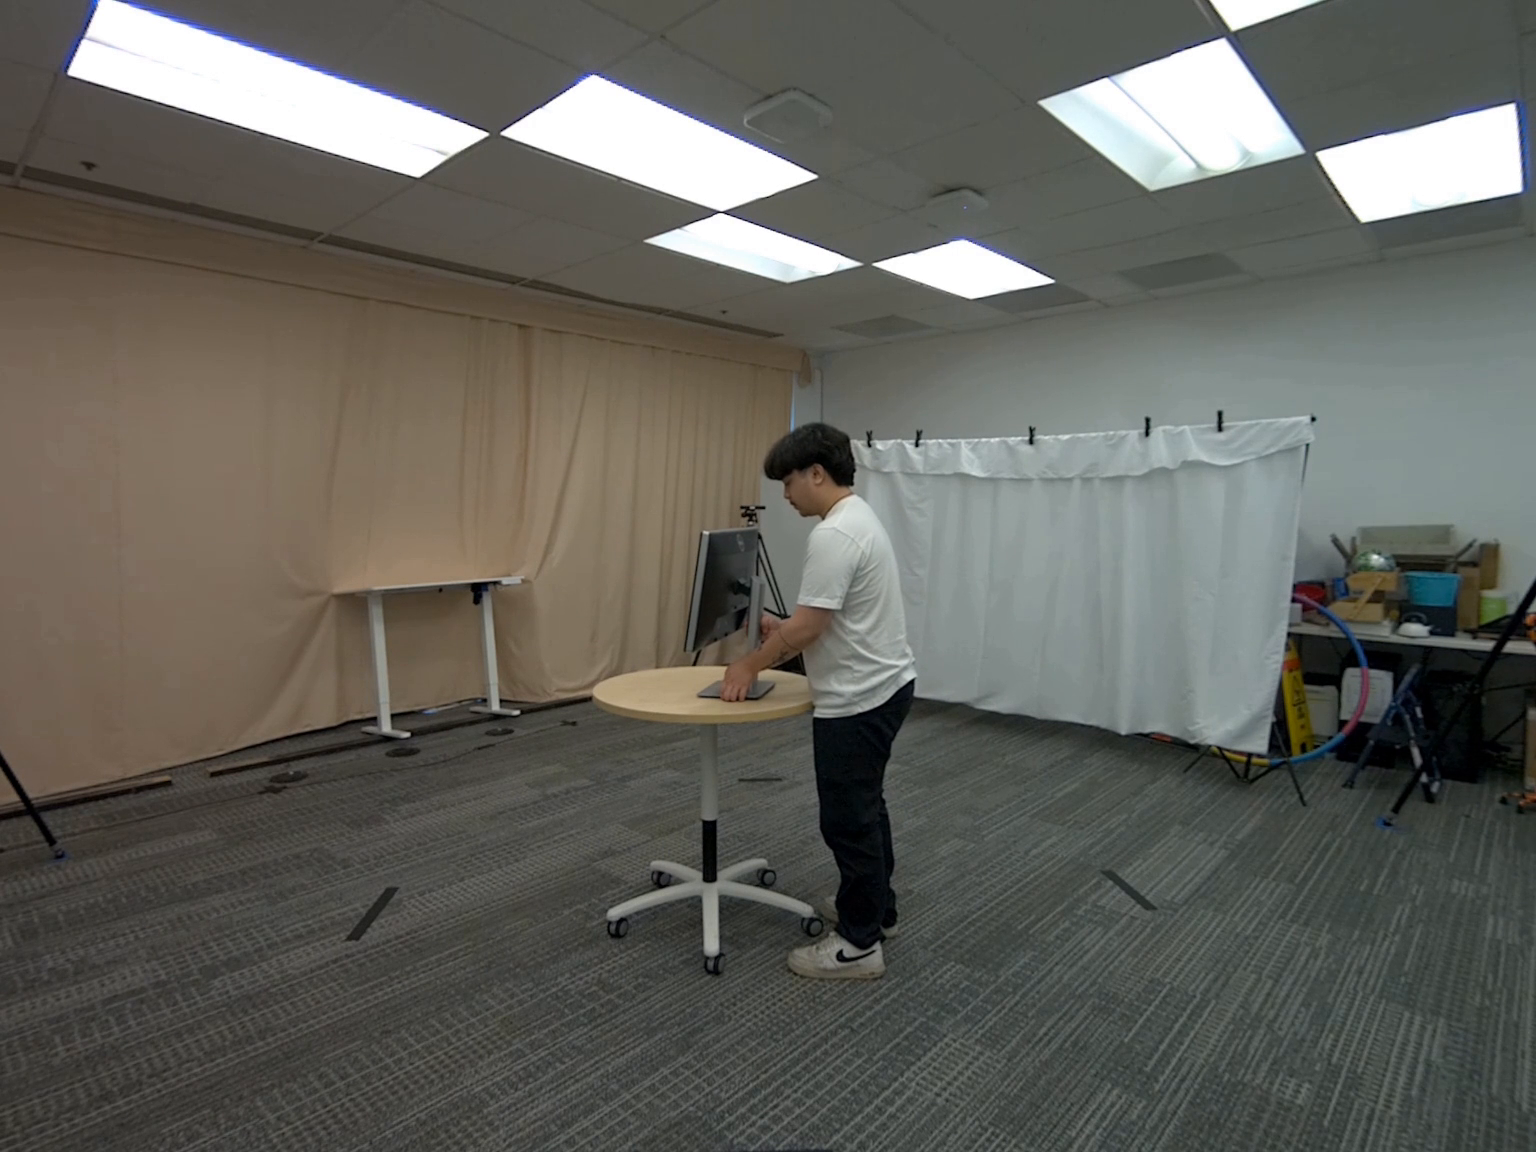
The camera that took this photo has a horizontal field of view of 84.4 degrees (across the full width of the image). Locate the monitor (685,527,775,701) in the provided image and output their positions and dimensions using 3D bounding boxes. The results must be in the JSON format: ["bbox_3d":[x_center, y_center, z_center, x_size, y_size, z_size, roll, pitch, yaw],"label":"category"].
[{"bbox_3d":[-0.074,0.120,2.706,0.214,0.552,0.556,5,5,16],"label":"monitor"}]
